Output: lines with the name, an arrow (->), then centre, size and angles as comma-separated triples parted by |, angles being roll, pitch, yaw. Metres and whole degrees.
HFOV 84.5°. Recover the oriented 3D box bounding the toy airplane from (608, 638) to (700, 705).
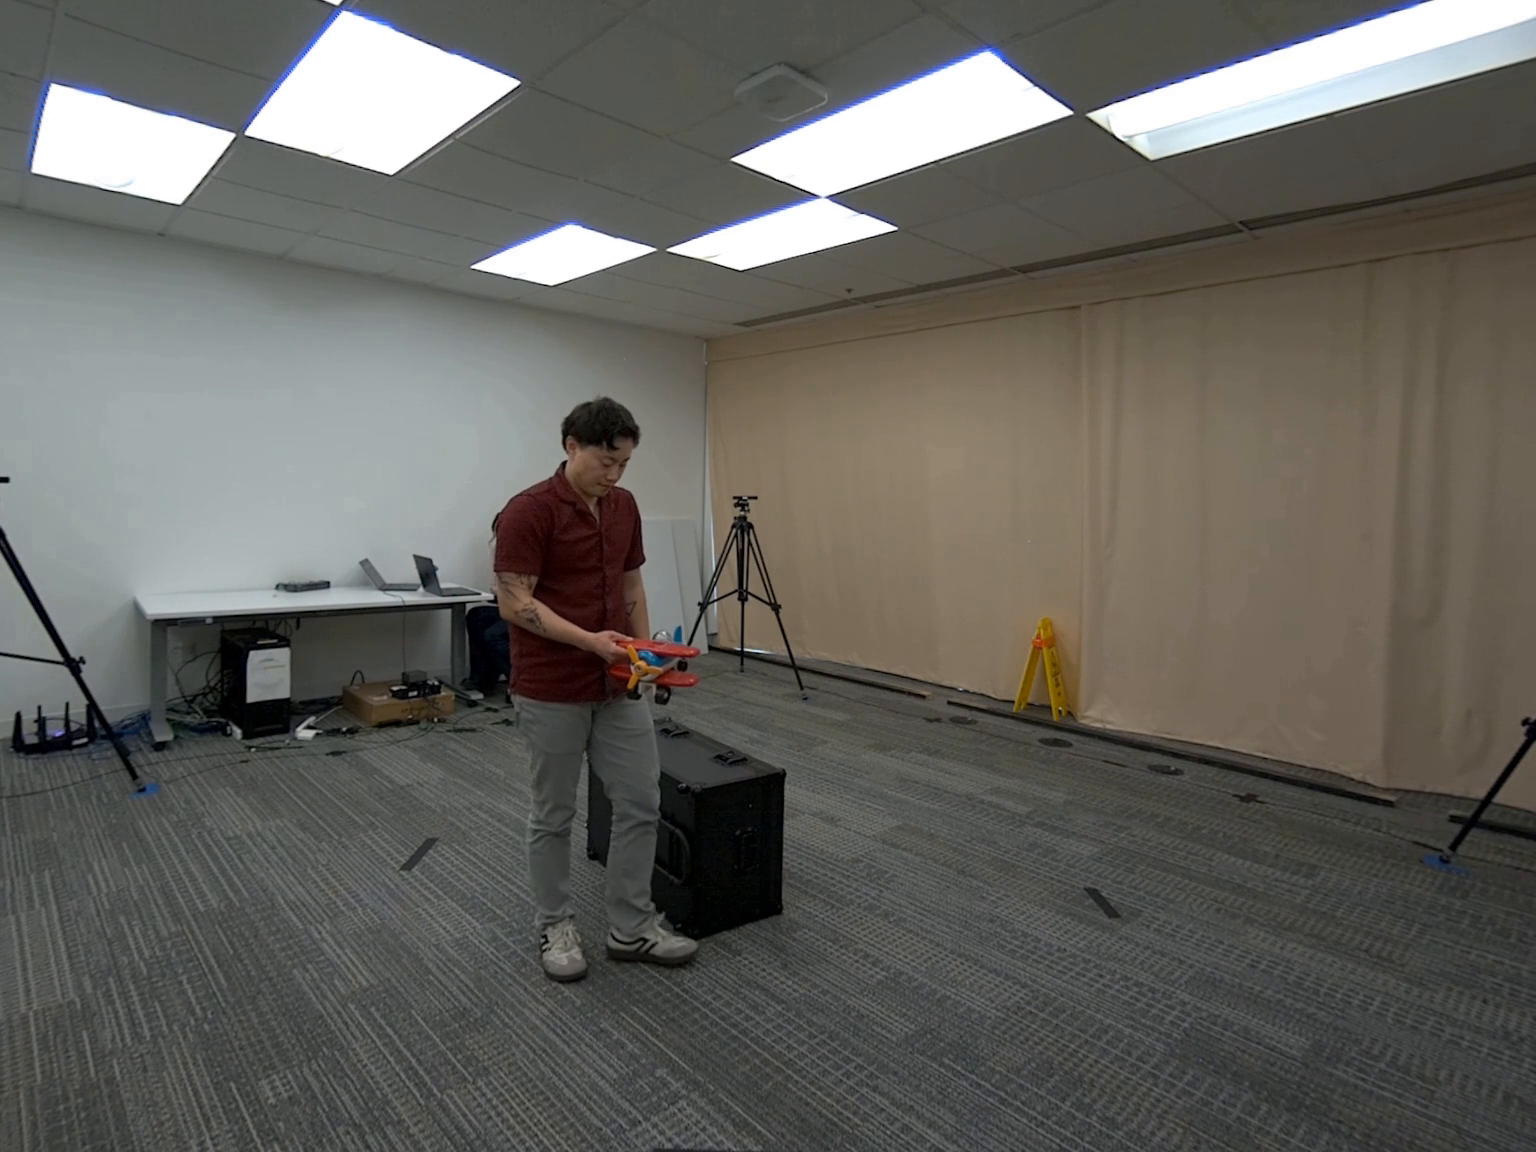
toy airplane -> -0.320, 0.240, 2.305 | 0.250, 0.154, 0.264 | -5, 23, -6
